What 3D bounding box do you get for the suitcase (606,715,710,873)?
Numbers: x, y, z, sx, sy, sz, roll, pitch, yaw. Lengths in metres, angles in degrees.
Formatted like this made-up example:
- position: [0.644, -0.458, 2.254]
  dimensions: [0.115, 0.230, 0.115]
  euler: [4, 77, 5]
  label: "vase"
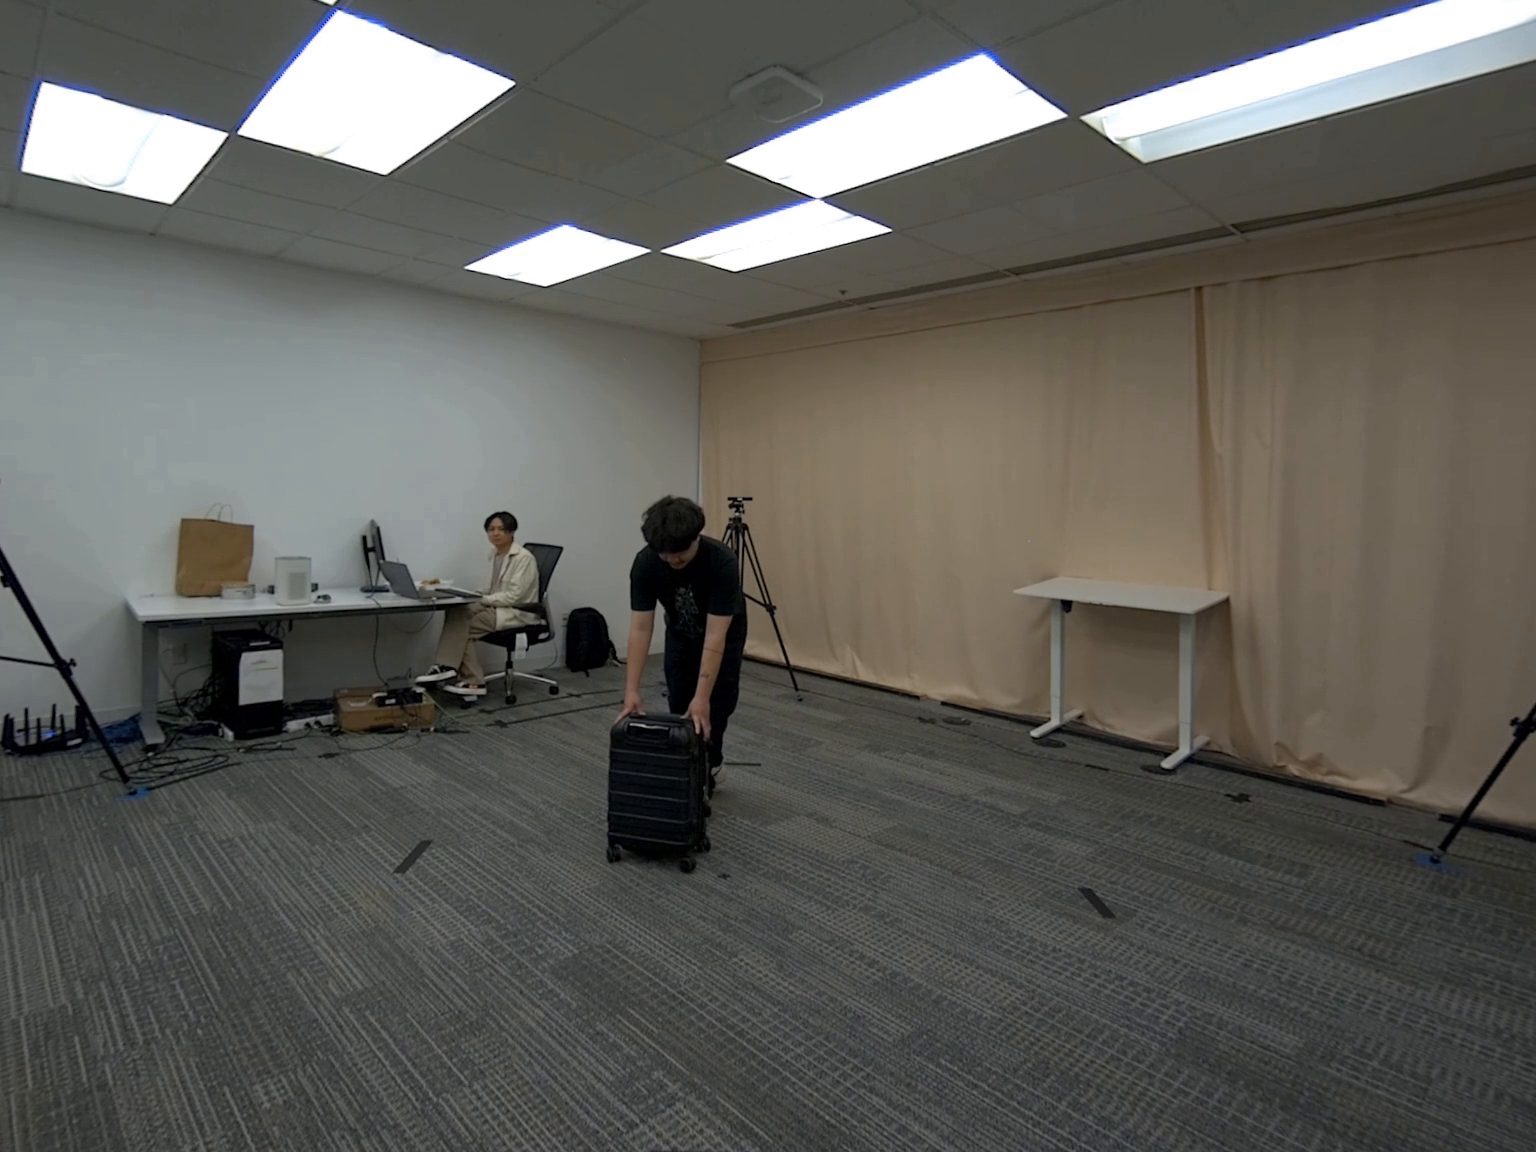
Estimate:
- position: [-0.440, 0.815, 3.281]
  dimensions: [0.380, 0.549, 0.245]
  euler: [1, 0, 17]
  label: "suitcase"
